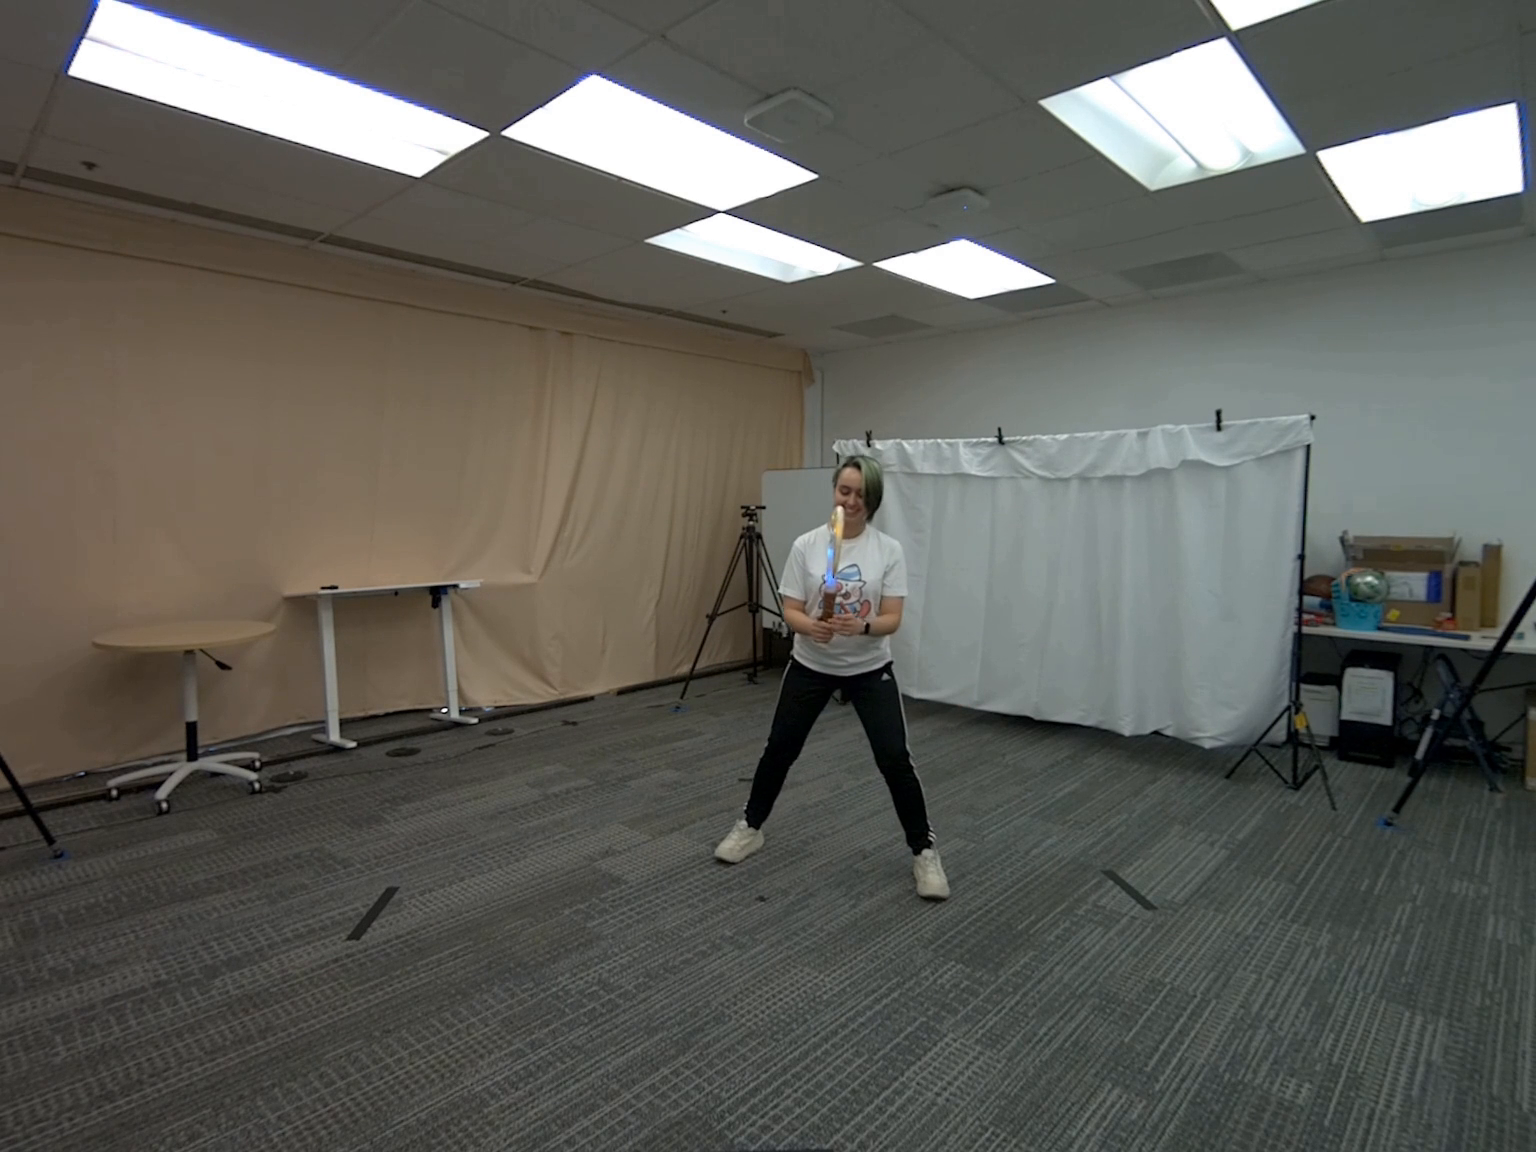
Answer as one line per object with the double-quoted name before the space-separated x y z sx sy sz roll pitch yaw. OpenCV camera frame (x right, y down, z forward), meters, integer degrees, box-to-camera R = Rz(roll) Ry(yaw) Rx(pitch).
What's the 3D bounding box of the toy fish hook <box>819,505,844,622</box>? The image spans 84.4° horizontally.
"toy fish hook" 0.216 0.024 2.755 0.048 0.499 0.226 2 26 4
